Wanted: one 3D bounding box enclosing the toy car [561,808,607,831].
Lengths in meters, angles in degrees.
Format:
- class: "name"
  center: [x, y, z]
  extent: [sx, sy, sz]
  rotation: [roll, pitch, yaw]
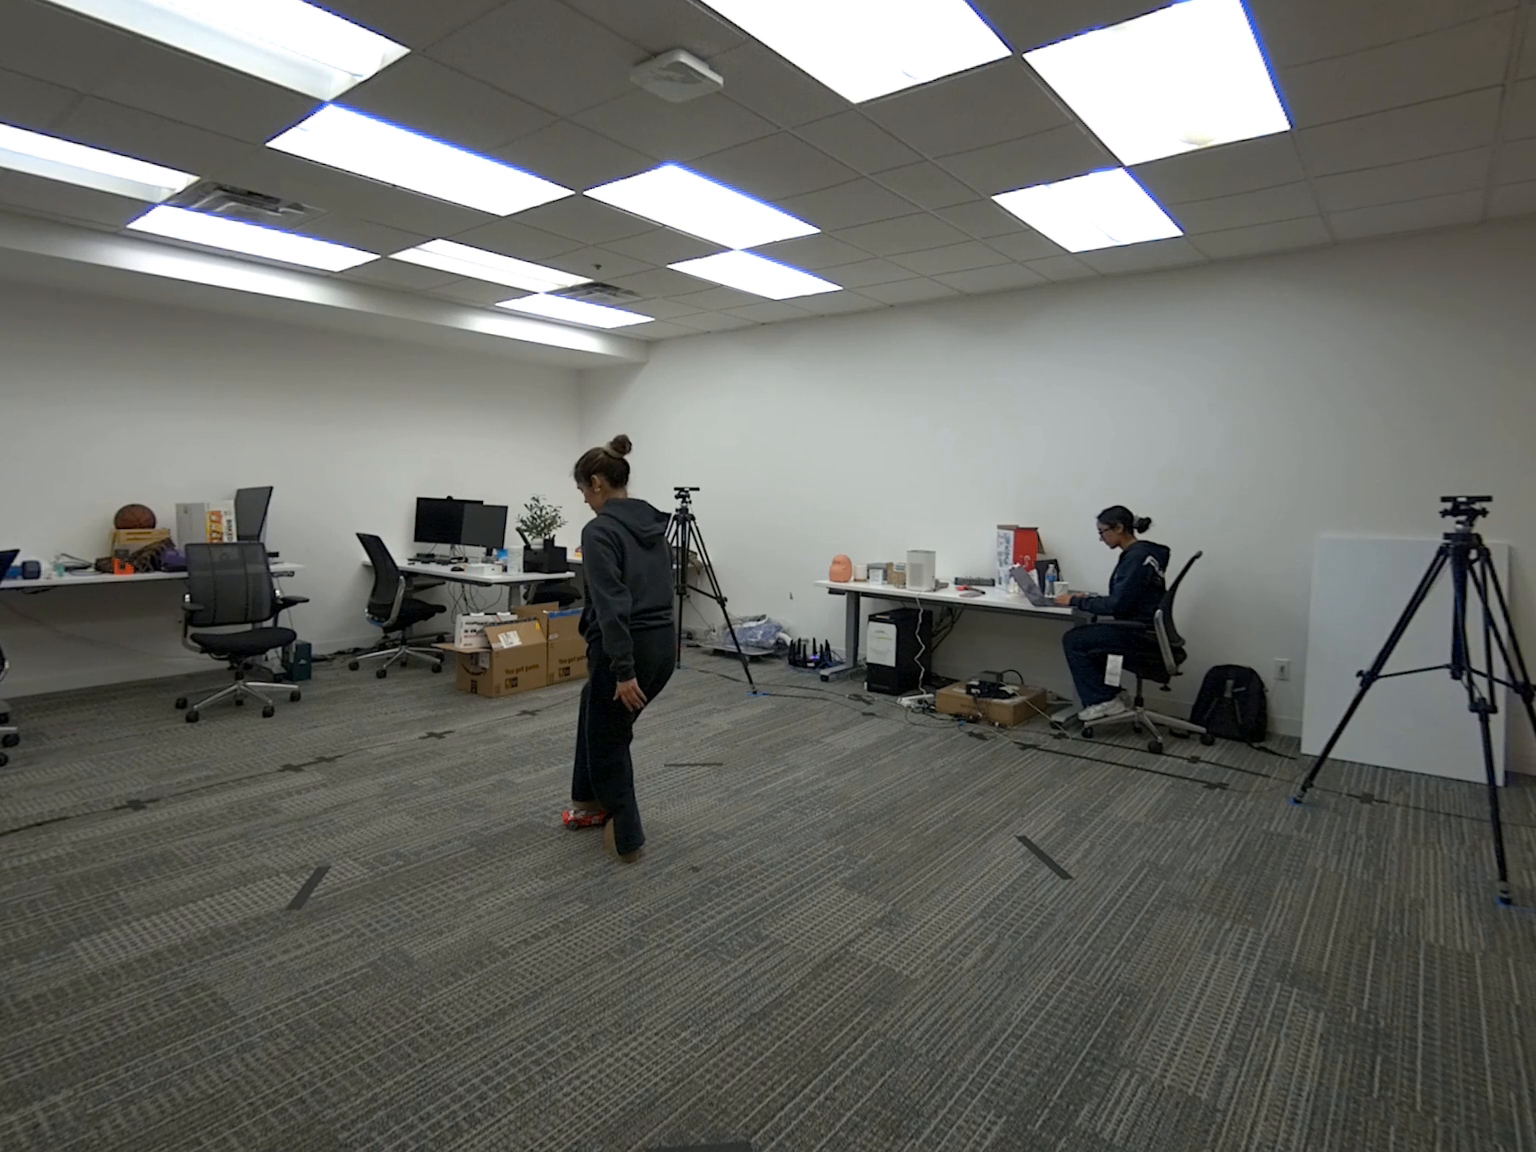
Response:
- class: "toy car"
  center: [-0.722, 0.989, 3.519]
  extent: [0.251, 0.083, 0.133]
  rotation: [-13, 7, -16]
